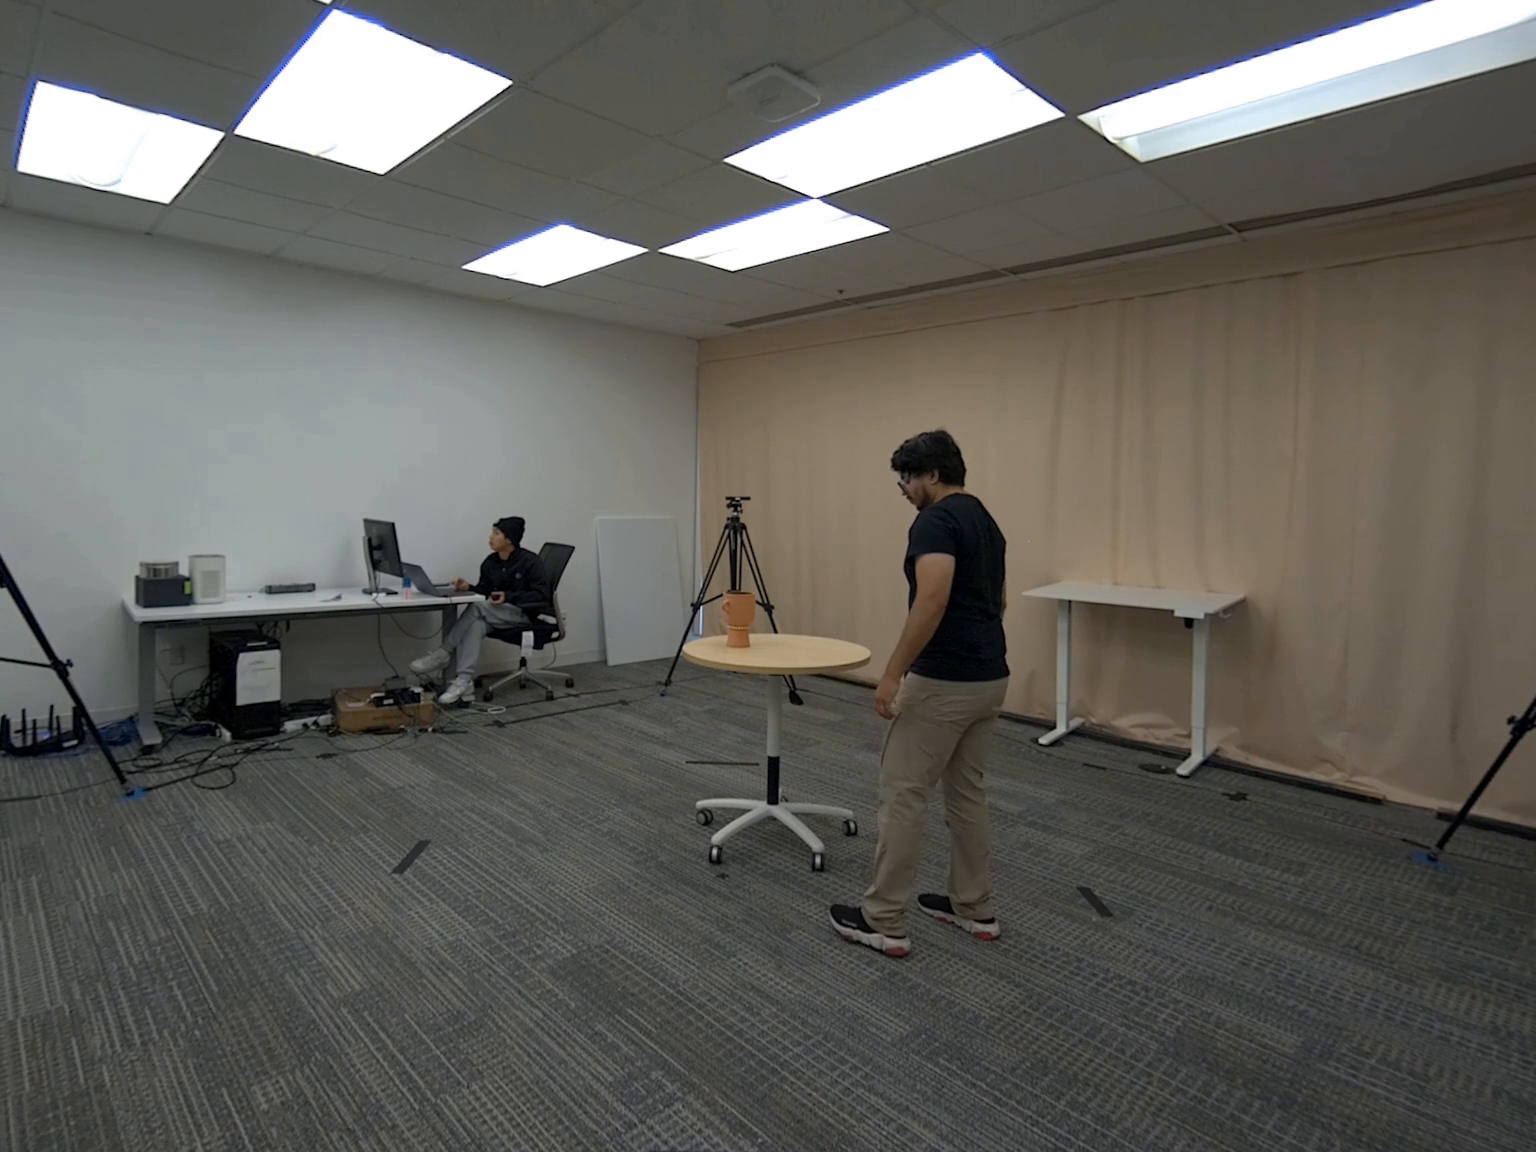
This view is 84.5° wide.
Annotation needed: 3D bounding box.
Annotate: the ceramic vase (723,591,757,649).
[{"bbox_3d":[-0.128,0.182,3.492,0.157,0.219,0.136,0,4,-10],"label":"ceramic vase"}]
